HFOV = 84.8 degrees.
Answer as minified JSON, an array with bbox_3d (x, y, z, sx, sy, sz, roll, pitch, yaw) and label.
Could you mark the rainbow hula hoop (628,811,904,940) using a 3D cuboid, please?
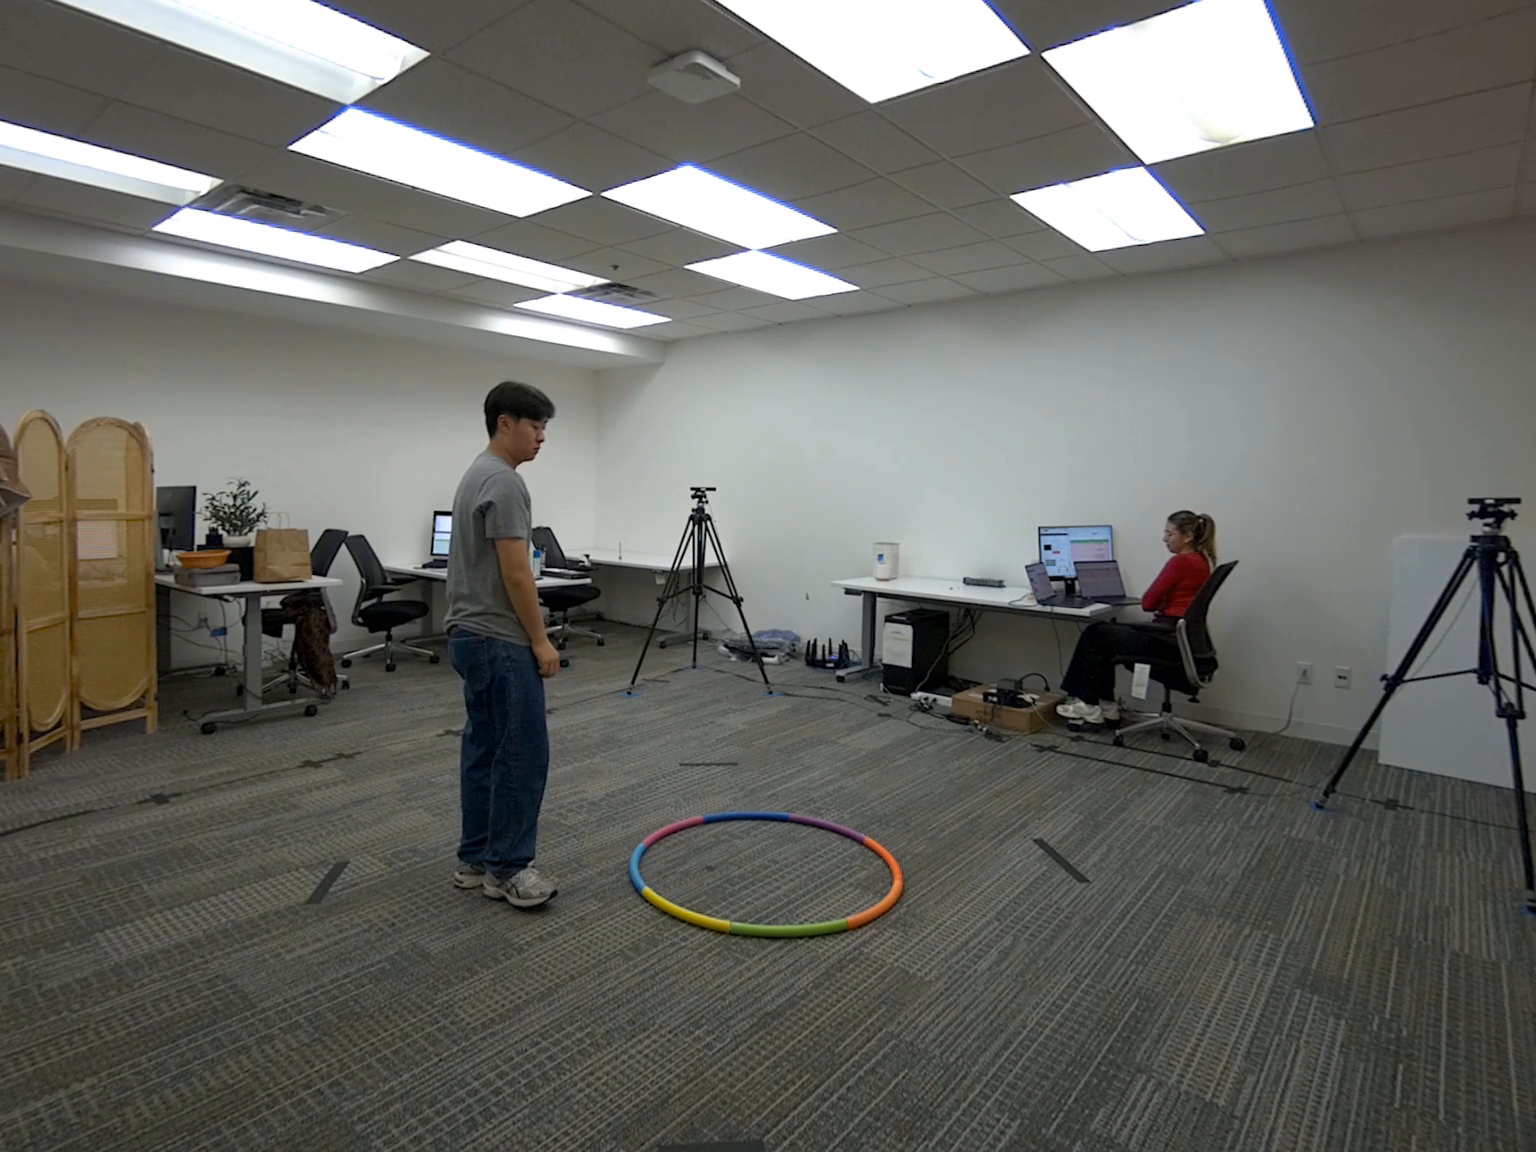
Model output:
[{"bbox_3d":[-0.020,1.039,3.101,0.978,0.035,0.984,1,6,-2],"label":"rainbow hula hoop"}]
